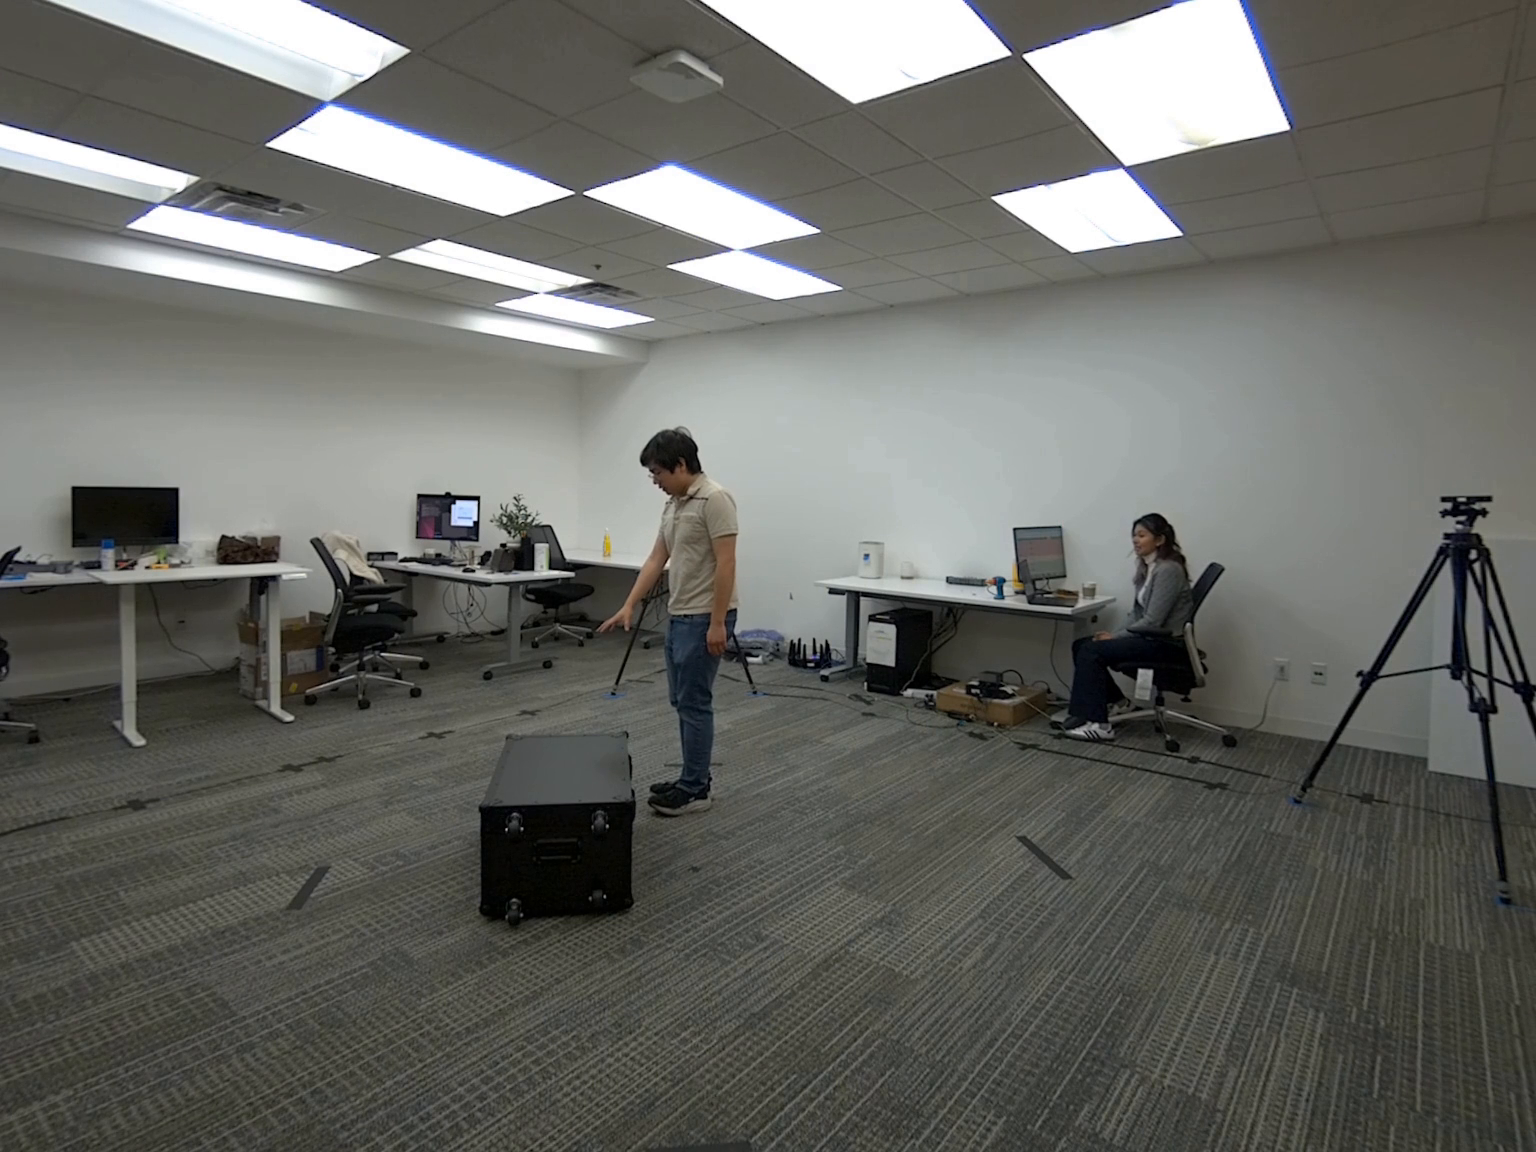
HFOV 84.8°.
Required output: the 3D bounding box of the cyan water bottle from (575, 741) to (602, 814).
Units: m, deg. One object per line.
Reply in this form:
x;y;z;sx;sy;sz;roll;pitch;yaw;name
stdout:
-0.775;0.865;3.628;0.092;0.282;0.093;-1;4;-2;cyan water bottle
